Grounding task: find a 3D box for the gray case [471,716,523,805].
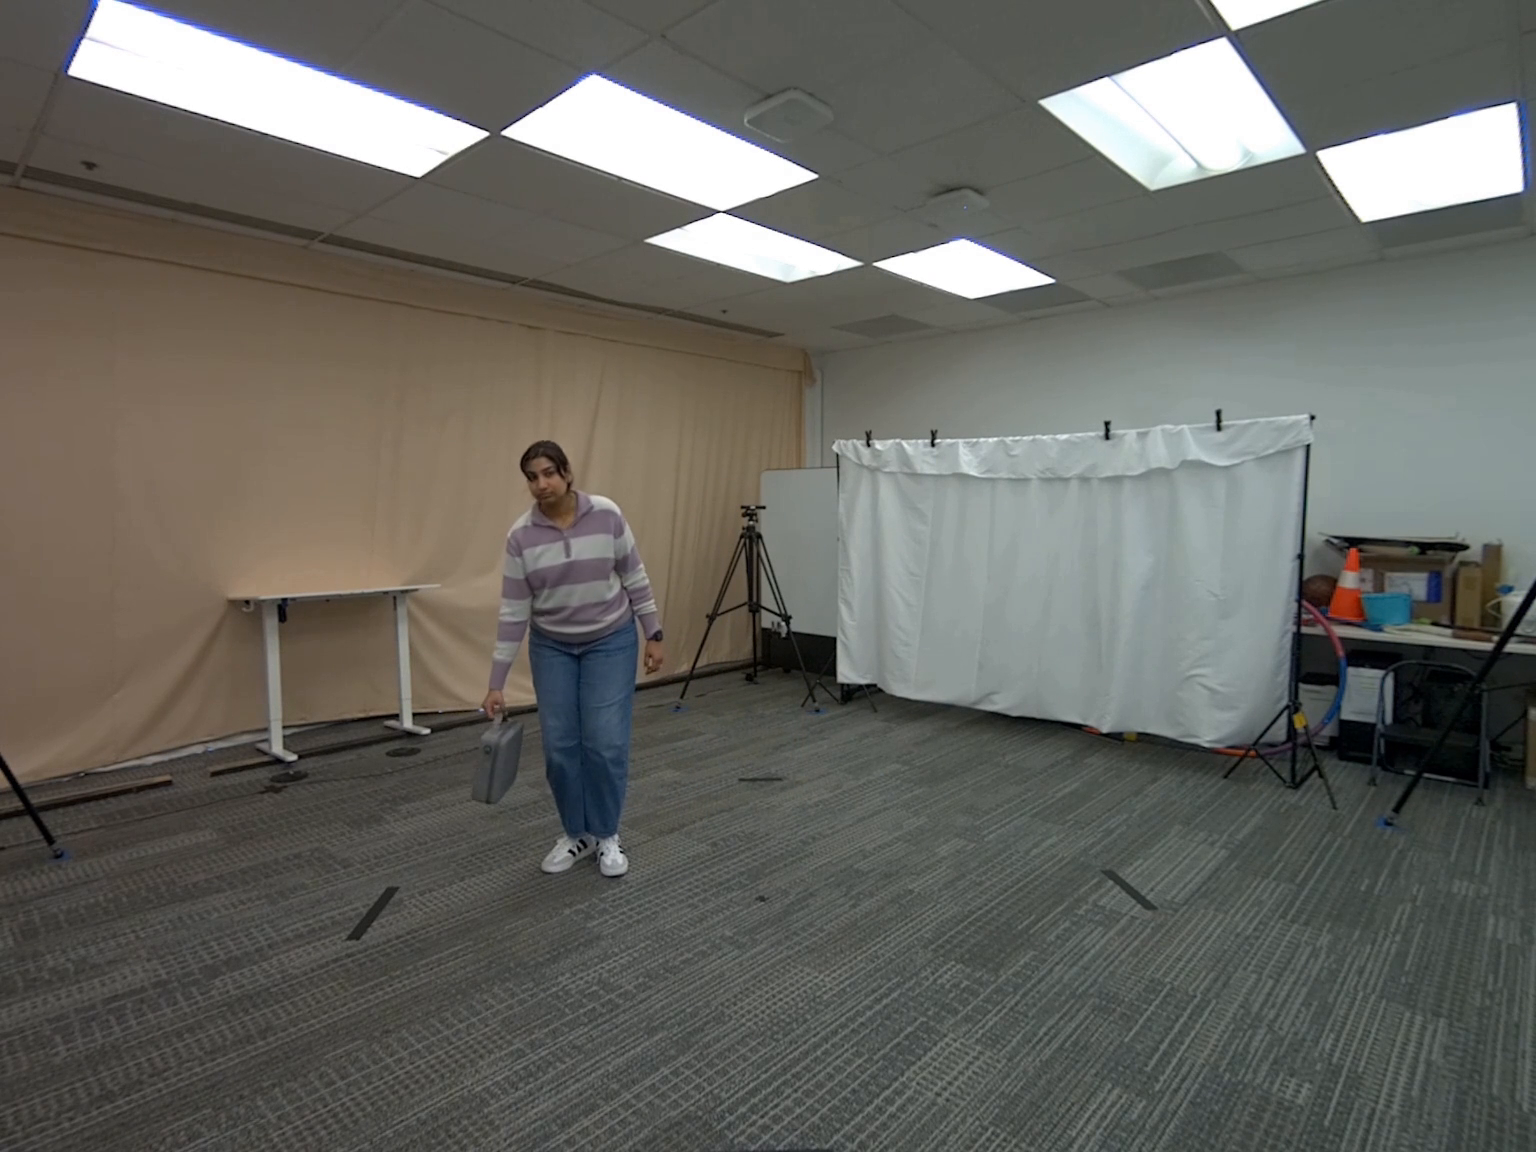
[{"bbox_3d":[-0.987,0.679,3.098,0.104,0.260,0.257,9,5,0],"label":"gray case"}]
